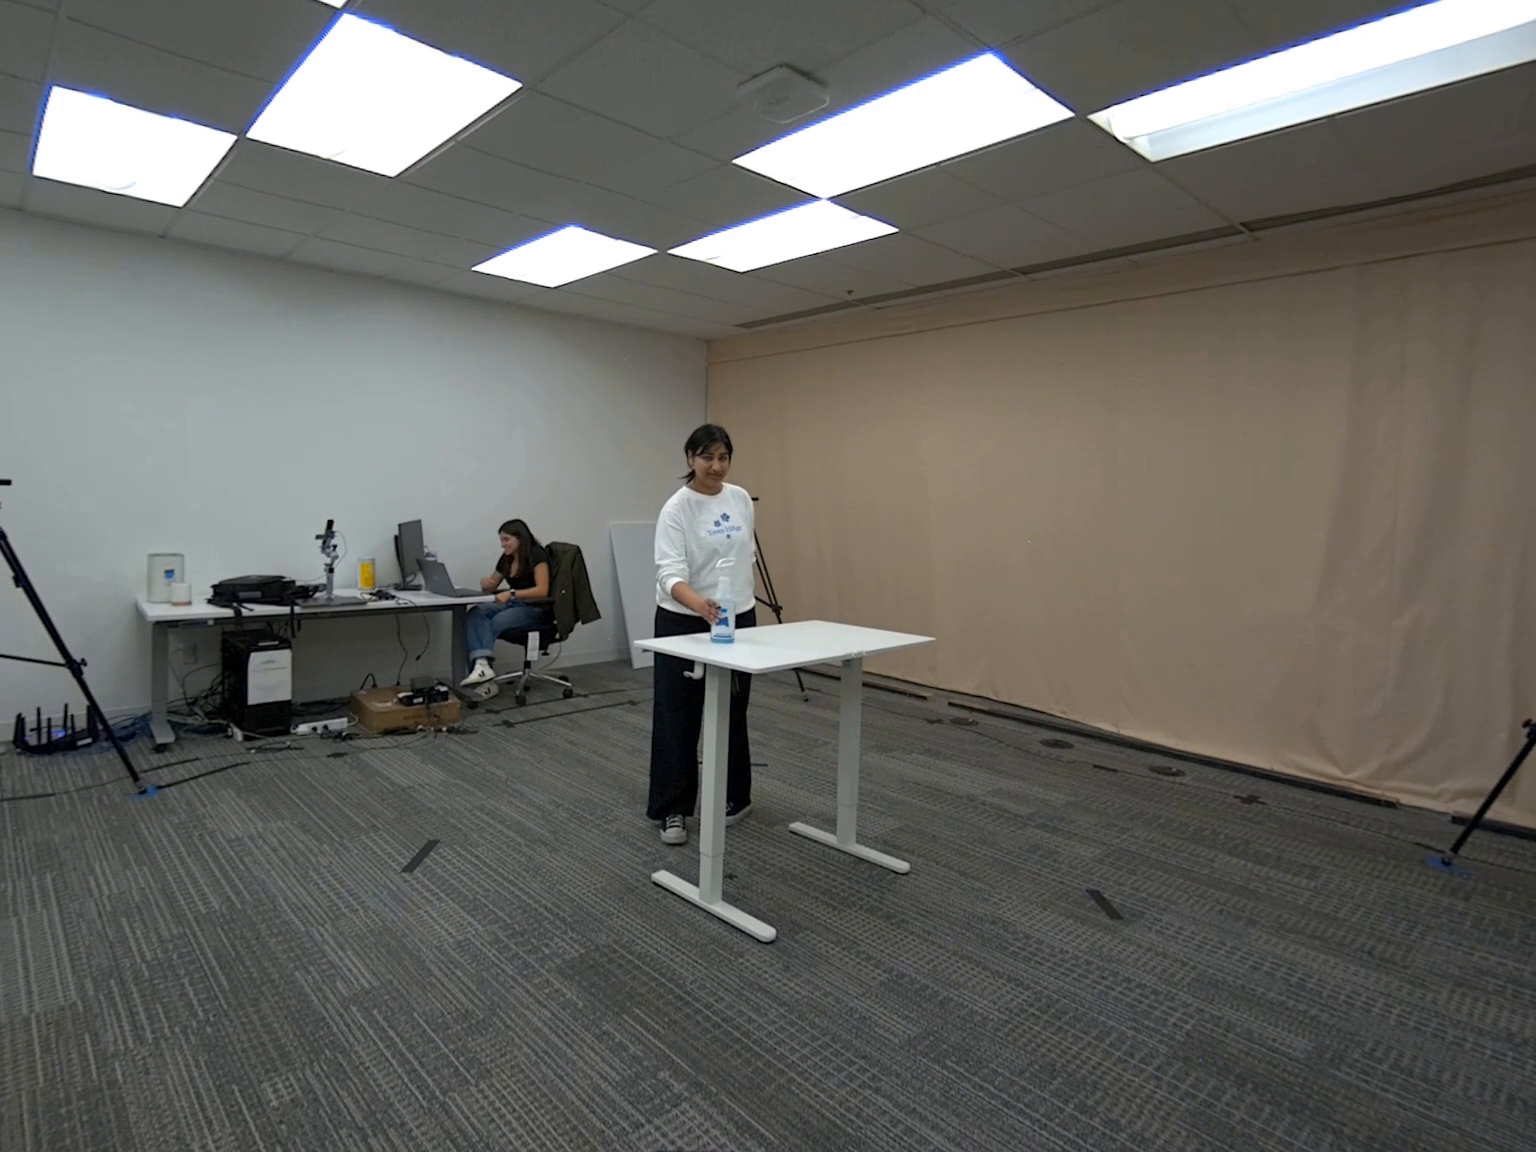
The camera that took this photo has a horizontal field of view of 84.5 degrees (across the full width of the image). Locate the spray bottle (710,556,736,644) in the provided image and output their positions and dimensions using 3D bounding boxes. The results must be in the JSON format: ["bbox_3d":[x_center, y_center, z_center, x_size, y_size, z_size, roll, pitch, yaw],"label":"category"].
[{"bbox_3d":[-0.164,0.089,2.978,0.088,0.297,0.088,3,0,-22],"label":"spray bottle"}]
